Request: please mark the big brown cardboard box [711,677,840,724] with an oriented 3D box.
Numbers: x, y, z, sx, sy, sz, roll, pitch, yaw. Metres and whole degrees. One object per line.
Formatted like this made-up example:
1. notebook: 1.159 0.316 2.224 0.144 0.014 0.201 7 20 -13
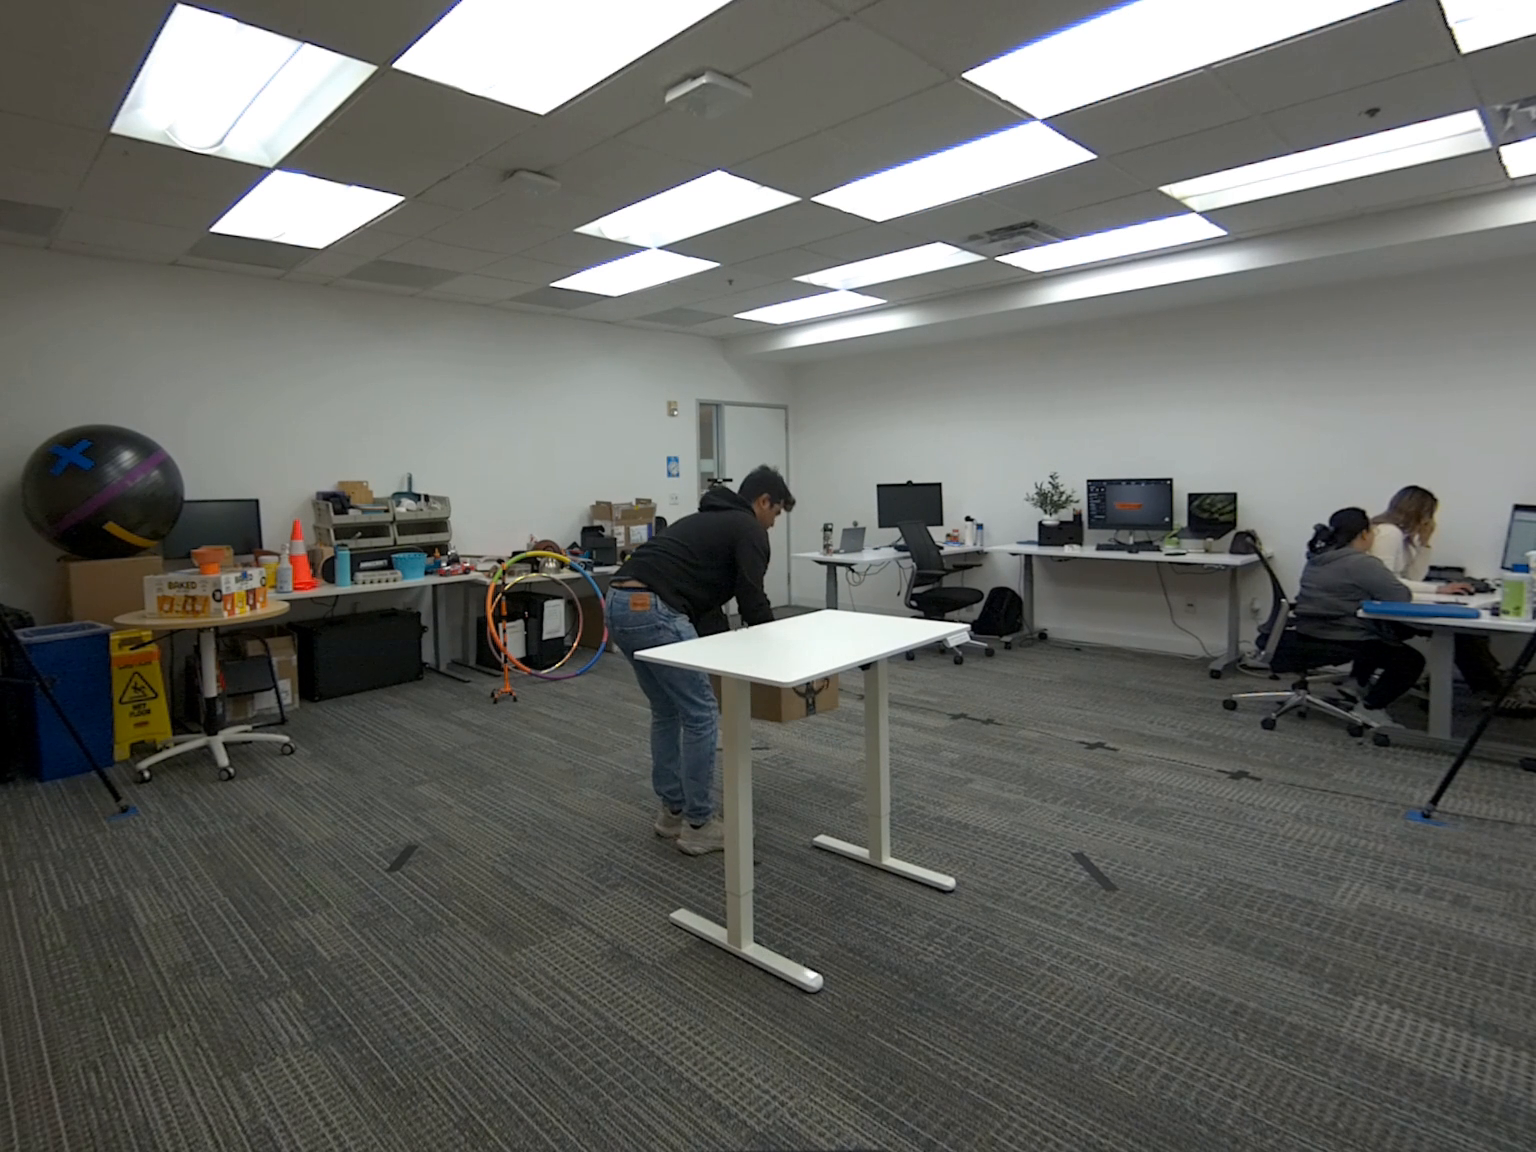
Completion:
1. big brown cardboard box: -0.044 0.459 3.690 0.606 0.233 0.406 2 4 38
